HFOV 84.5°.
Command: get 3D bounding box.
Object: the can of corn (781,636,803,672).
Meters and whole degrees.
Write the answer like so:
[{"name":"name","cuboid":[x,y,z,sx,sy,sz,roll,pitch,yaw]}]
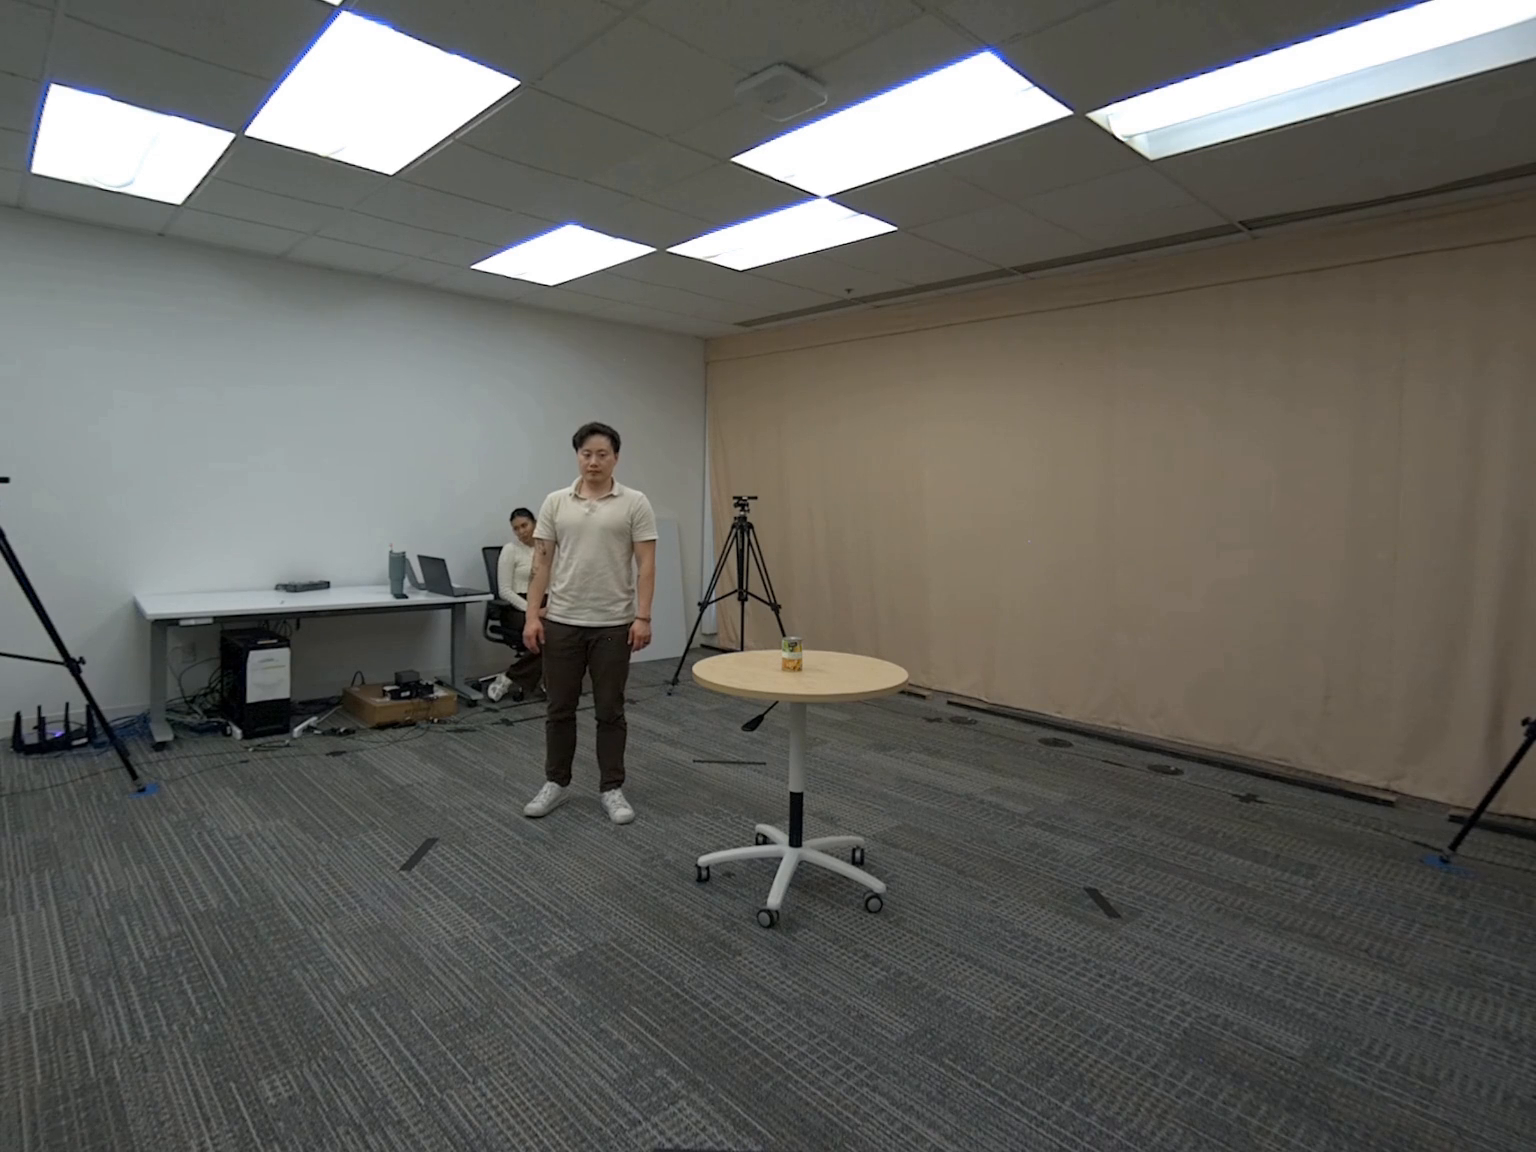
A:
[{"name":"can of corn","cuboid":[0.082,0.276,2.992,0.074,0.111,0.074,2,5,-2]}]
